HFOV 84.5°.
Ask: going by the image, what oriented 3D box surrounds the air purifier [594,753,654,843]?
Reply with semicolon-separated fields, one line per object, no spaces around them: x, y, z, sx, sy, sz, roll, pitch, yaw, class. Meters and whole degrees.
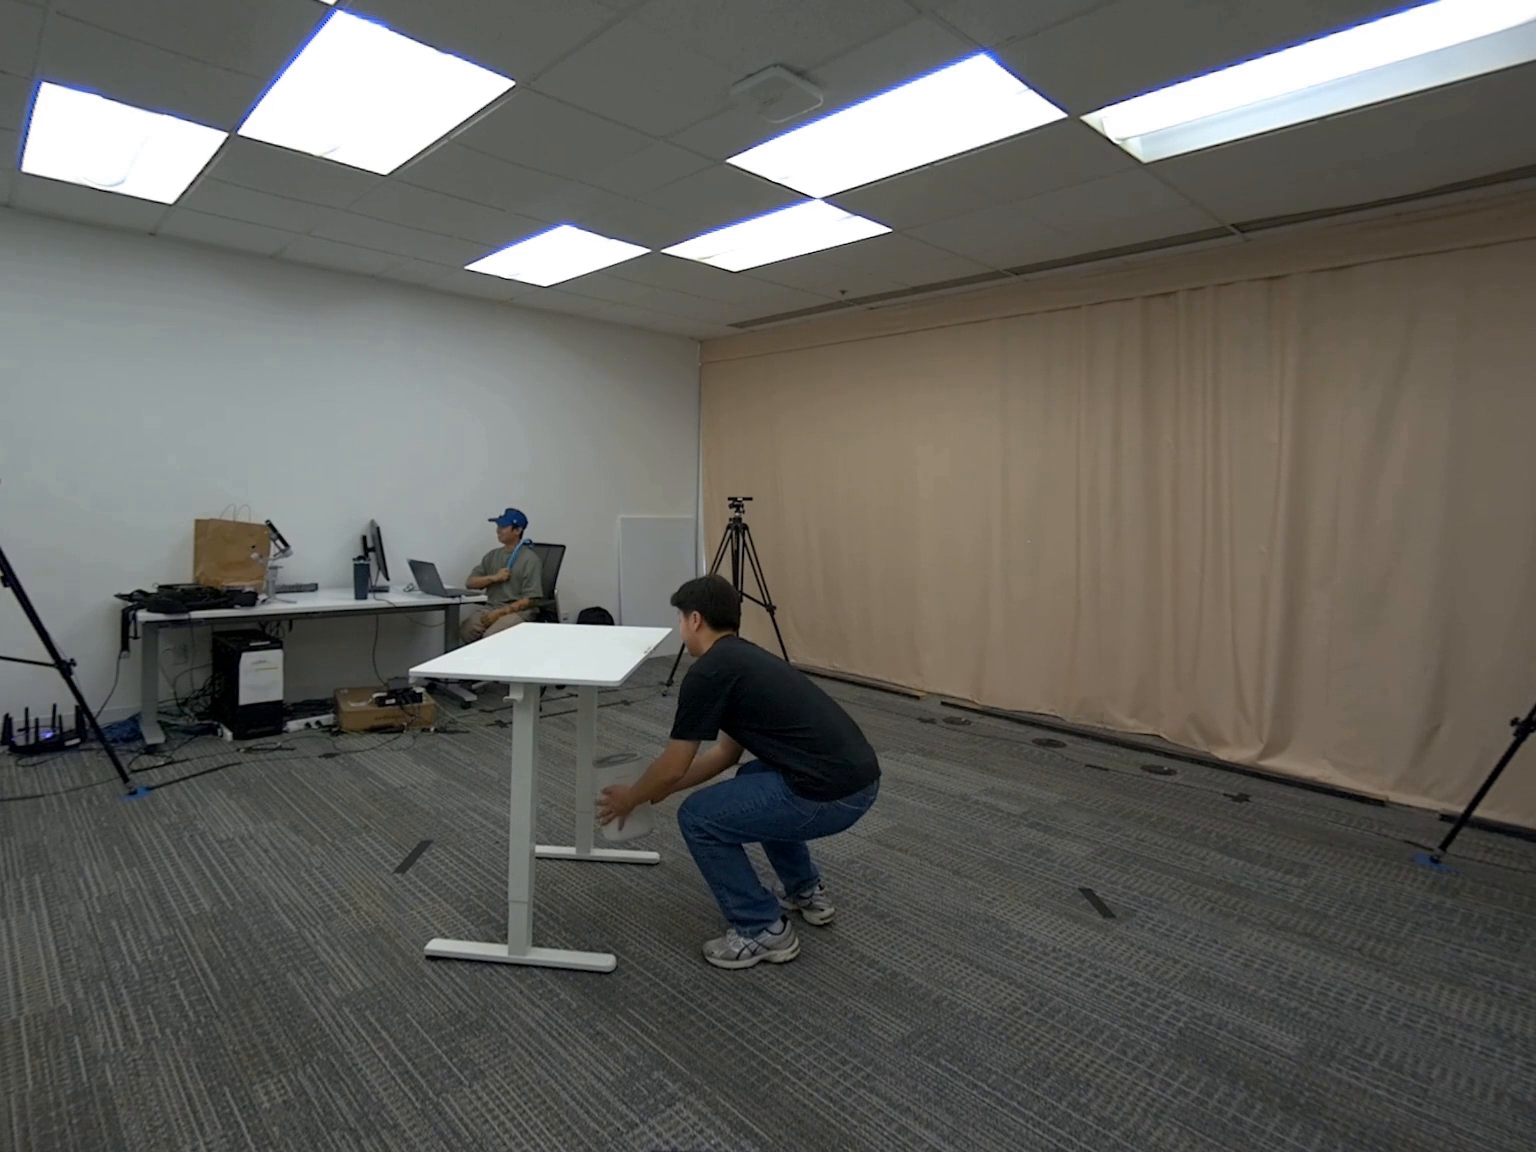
-0.497;0.752;2.873;0.169;0.266;0.173;-9;-1;-17;air purifier
